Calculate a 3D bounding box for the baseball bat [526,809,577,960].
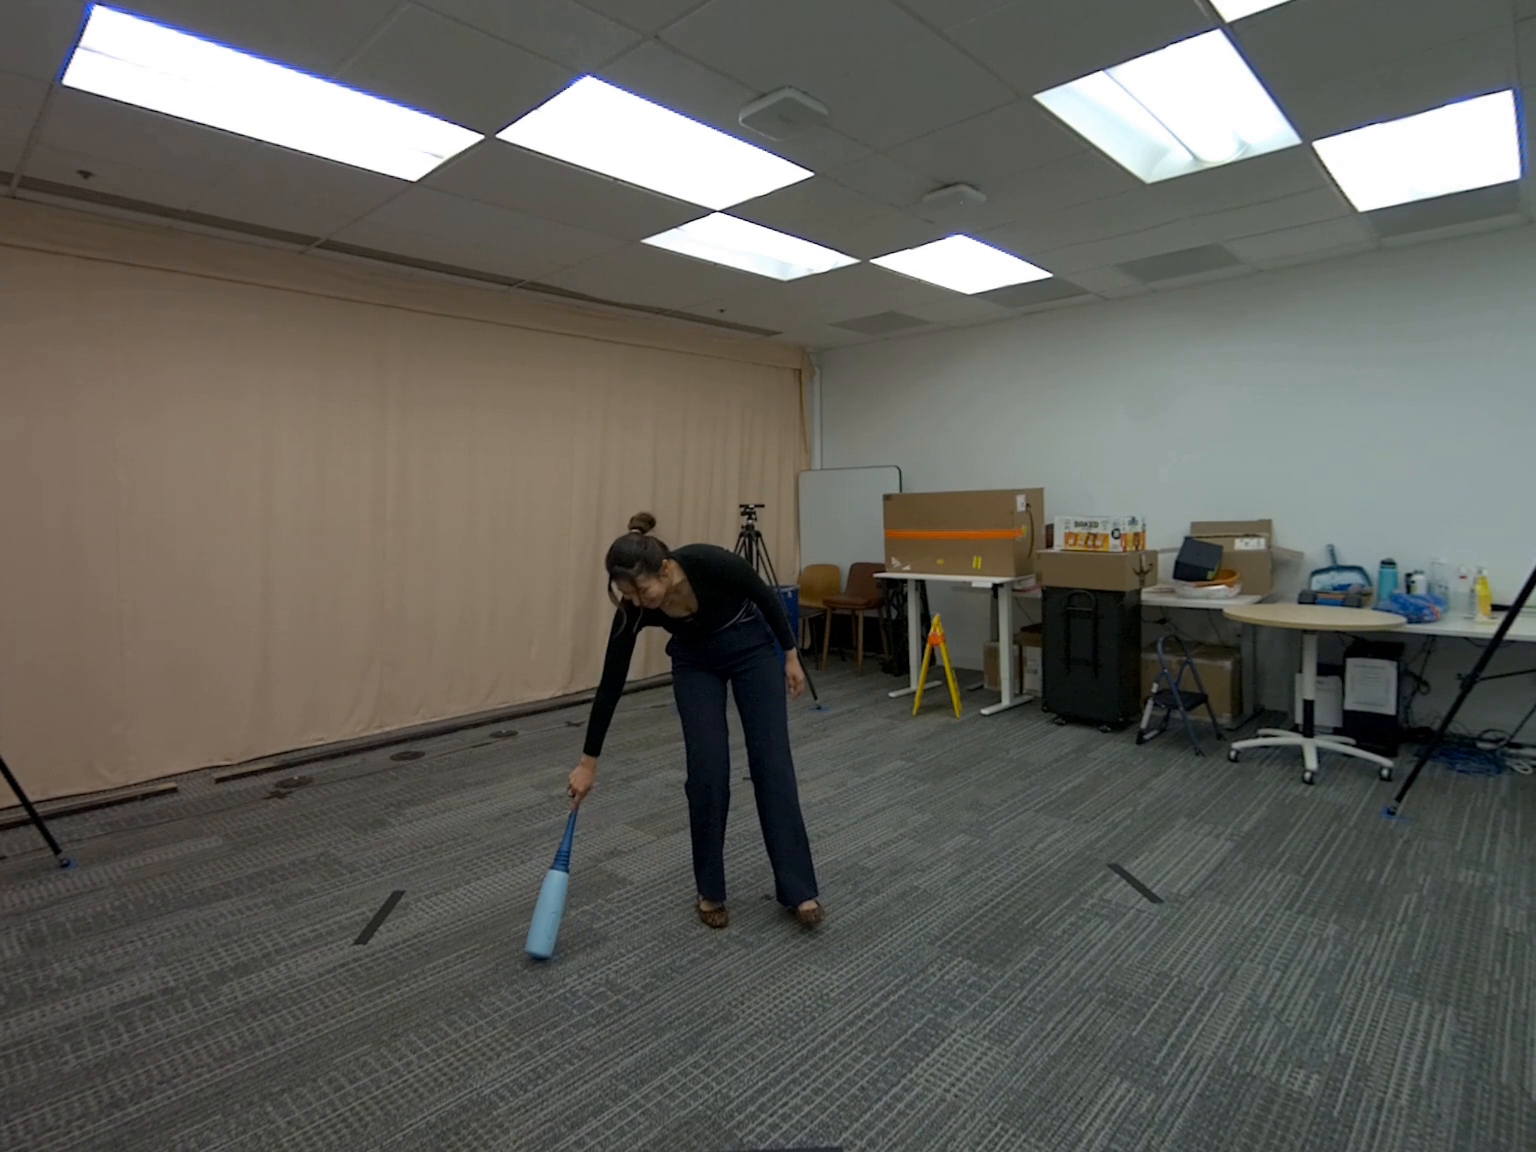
[{"bbox_3d":[-0.667,0.940,2.723,0.089,0.549,0.088,8,-30,3],"label":"baseball bat"}]
